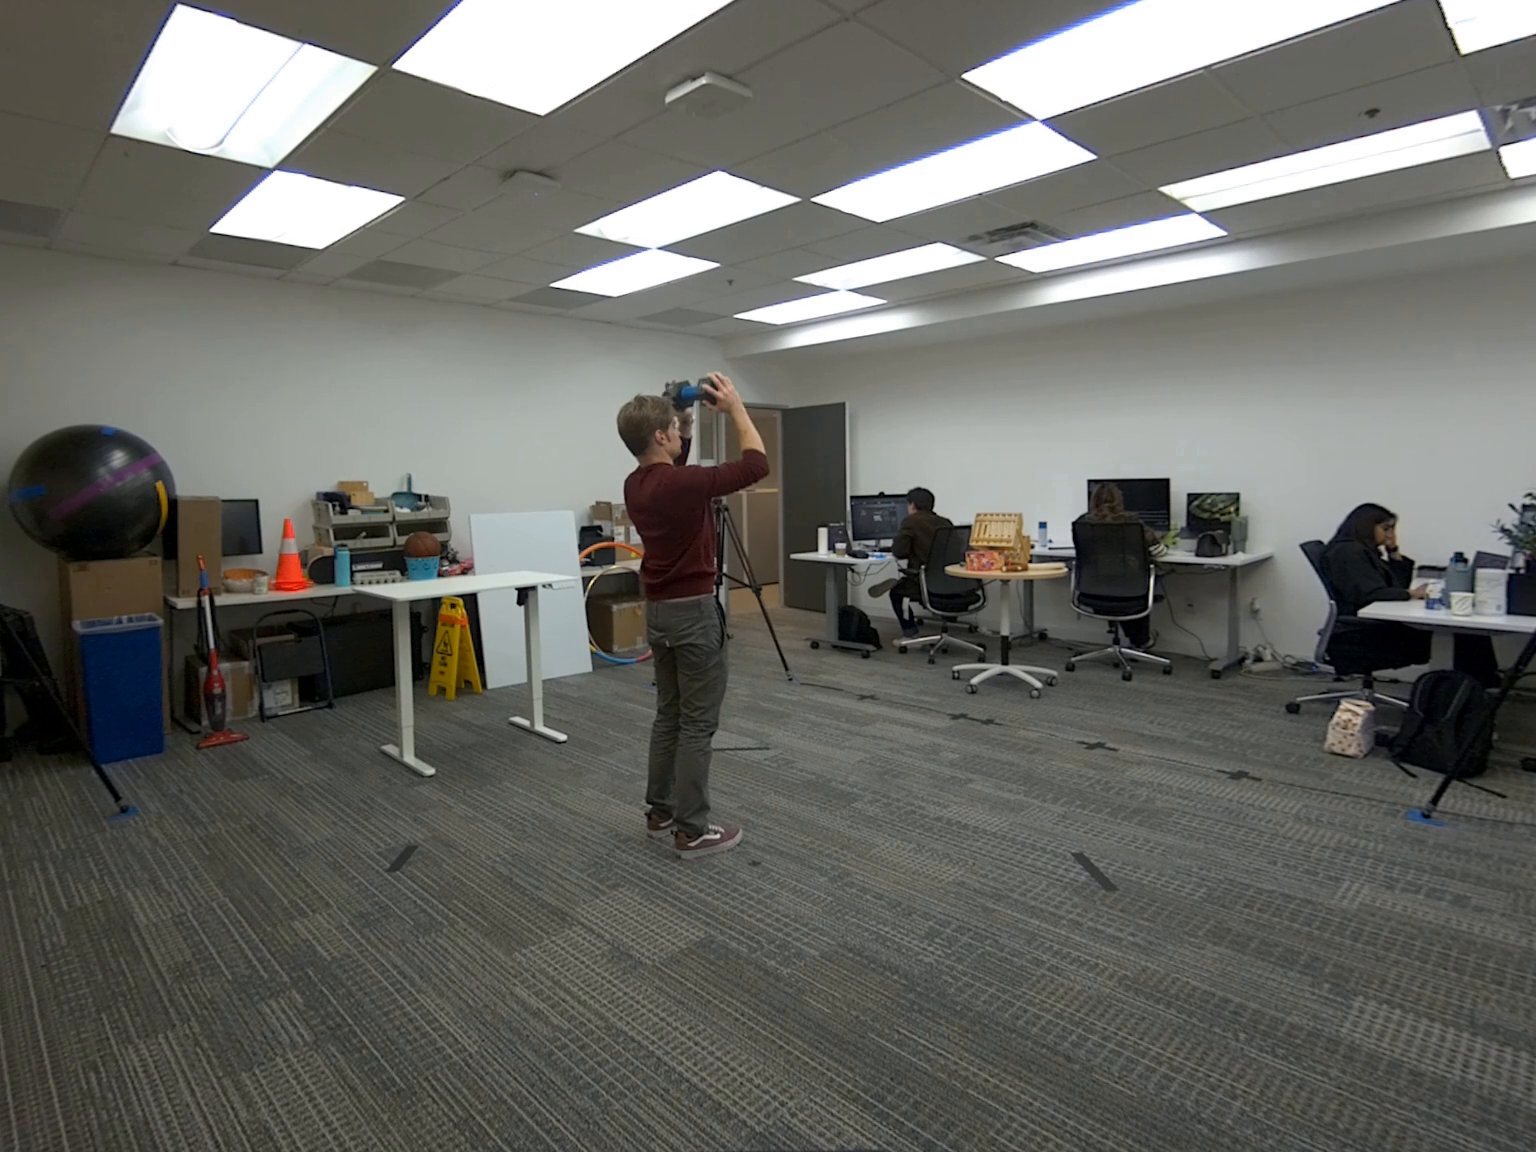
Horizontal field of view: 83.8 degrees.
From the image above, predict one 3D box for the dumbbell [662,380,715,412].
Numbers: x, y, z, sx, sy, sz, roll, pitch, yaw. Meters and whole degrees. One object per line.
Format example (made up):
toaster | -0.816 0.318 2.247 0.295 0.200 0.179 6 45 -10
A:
dumbbell | -0.274 -0.700 3.271 0.303 0.119 0.109 9 54 49
